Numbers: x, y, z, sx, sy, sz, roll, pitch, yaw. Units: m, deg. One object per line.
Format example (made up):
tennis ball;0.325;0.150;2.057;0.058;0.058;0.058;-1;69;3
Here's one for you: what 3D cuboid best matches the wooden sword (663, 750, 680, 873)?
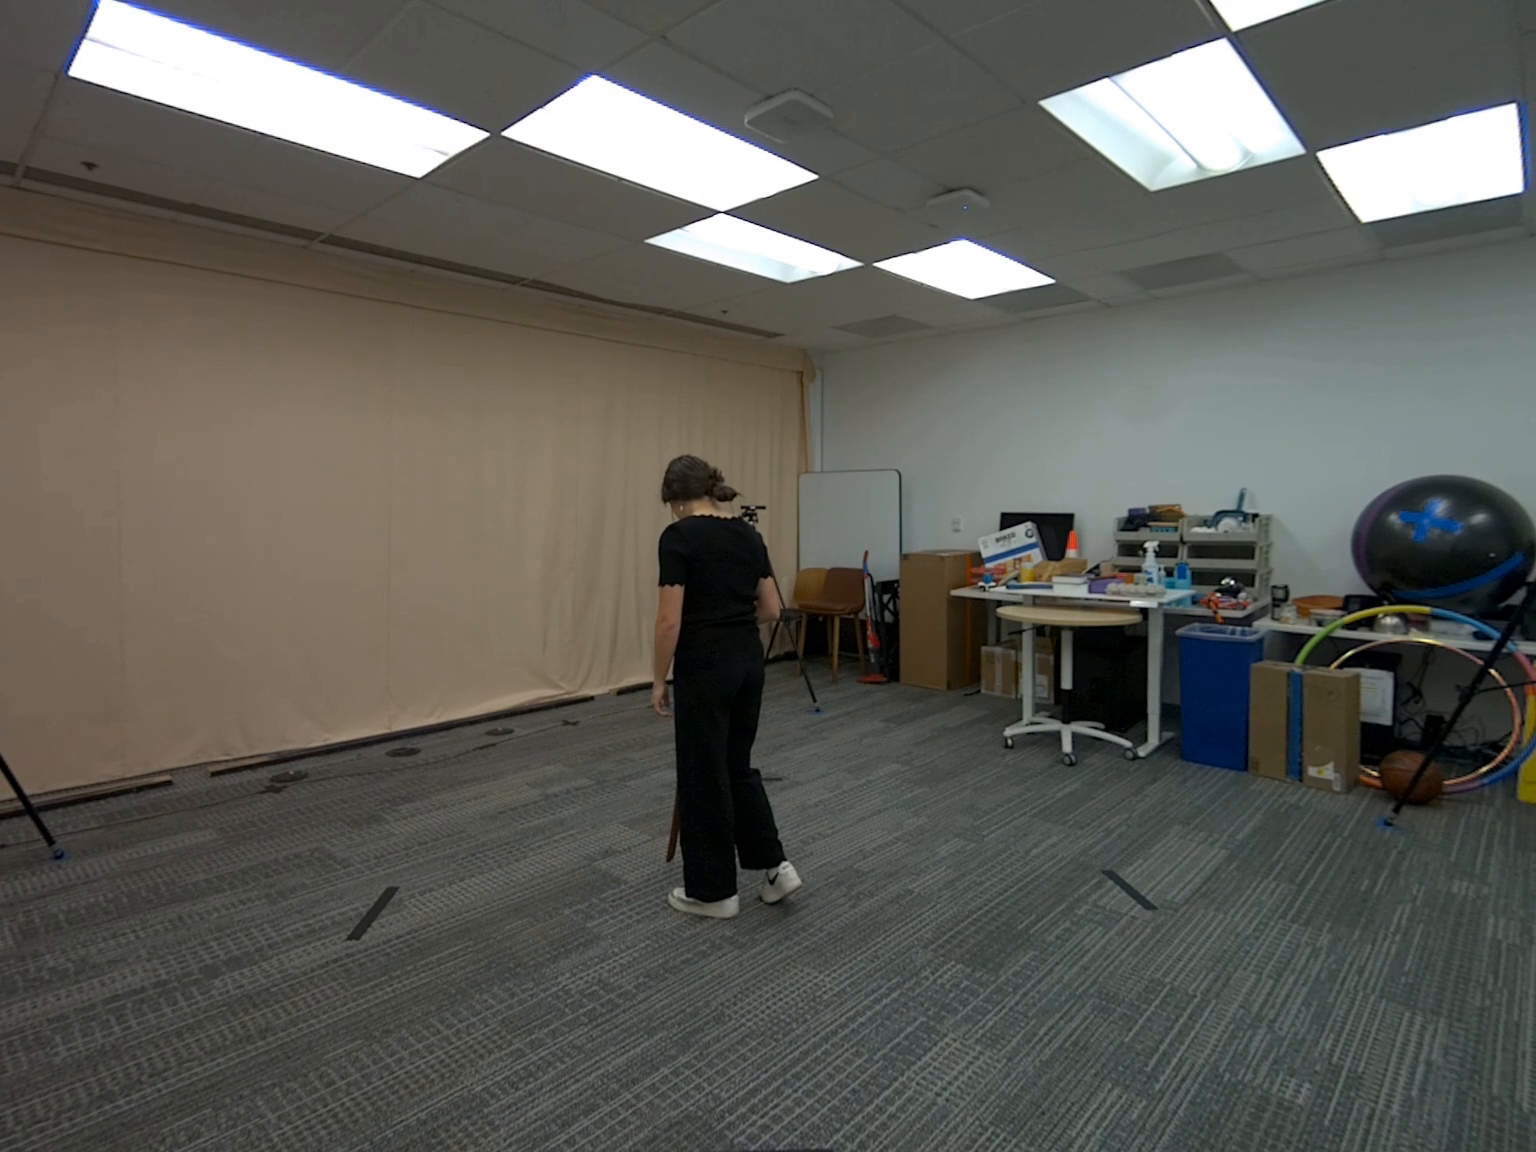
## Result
wooden sword;-0.324;0.644;3.199;0.050;1.019;0.025;2;11;-24
